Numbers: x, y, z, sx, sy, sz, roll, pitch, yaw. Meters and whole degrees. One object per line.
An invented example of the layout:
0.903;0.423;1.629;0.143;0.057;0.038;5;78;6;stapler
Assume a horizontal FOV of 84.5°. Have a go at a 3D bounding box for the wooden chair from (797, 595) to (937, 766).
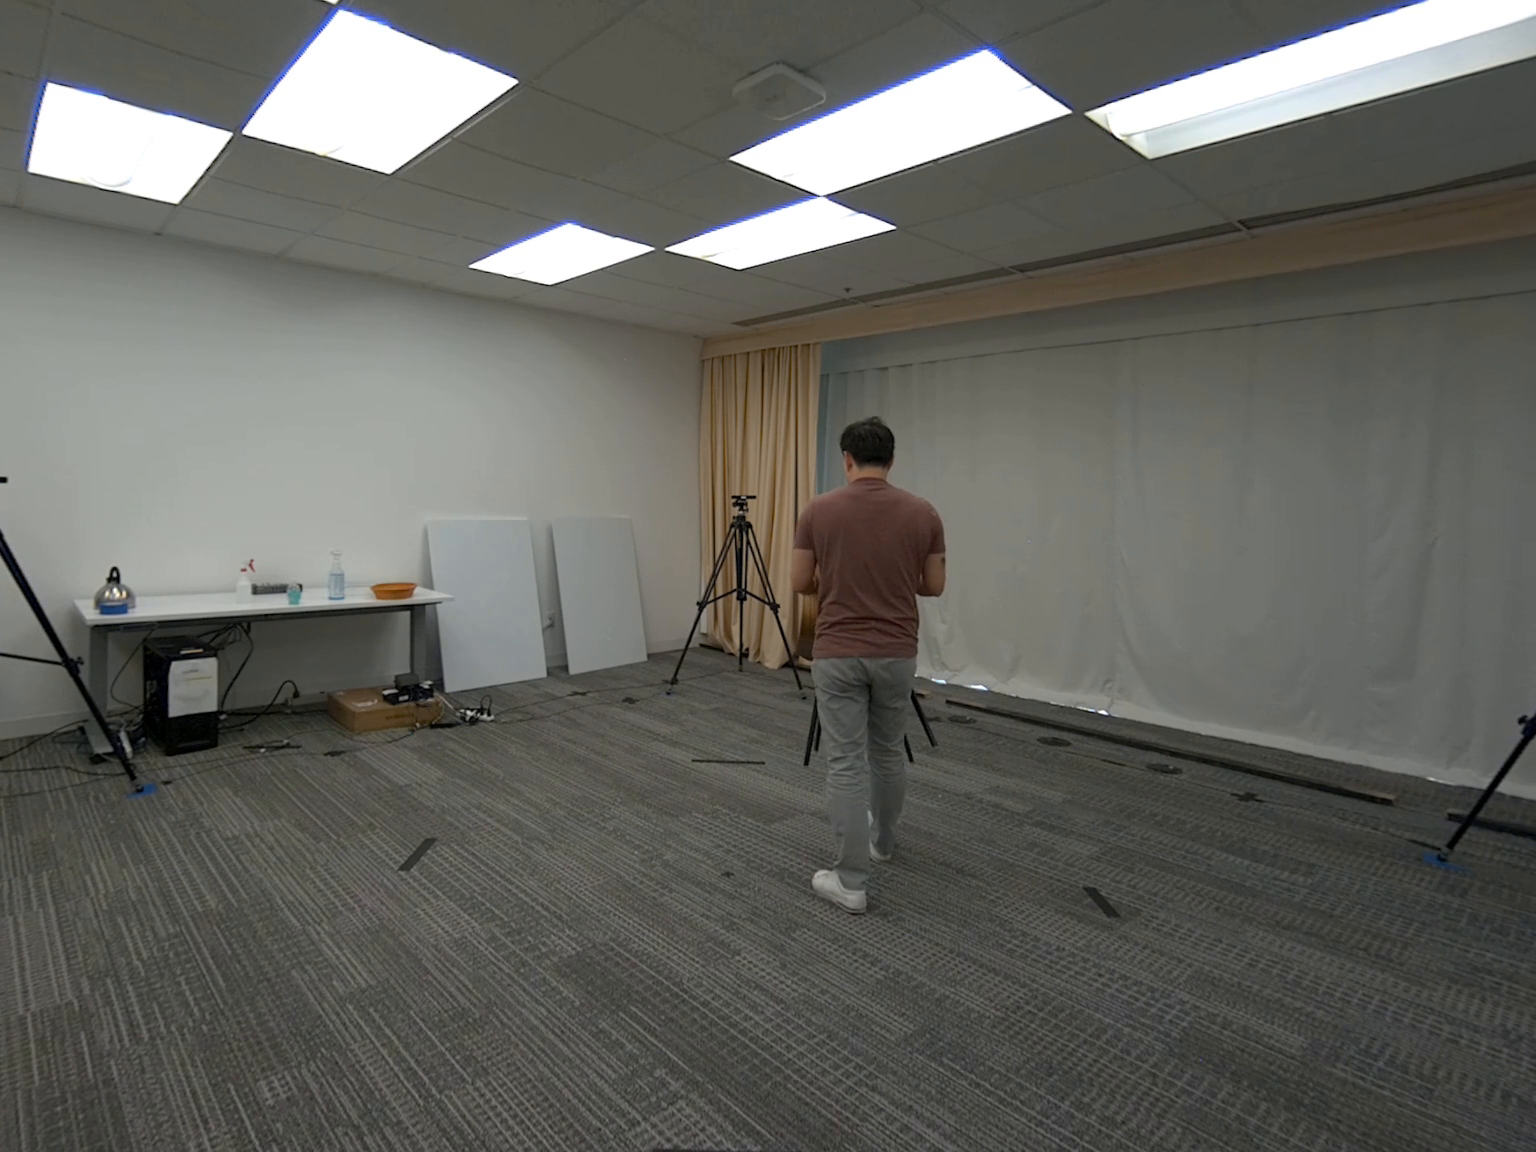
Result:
0.354;0.306;3.402;0.478;0.888;0.517;-2;-16;-2;wooden chair
